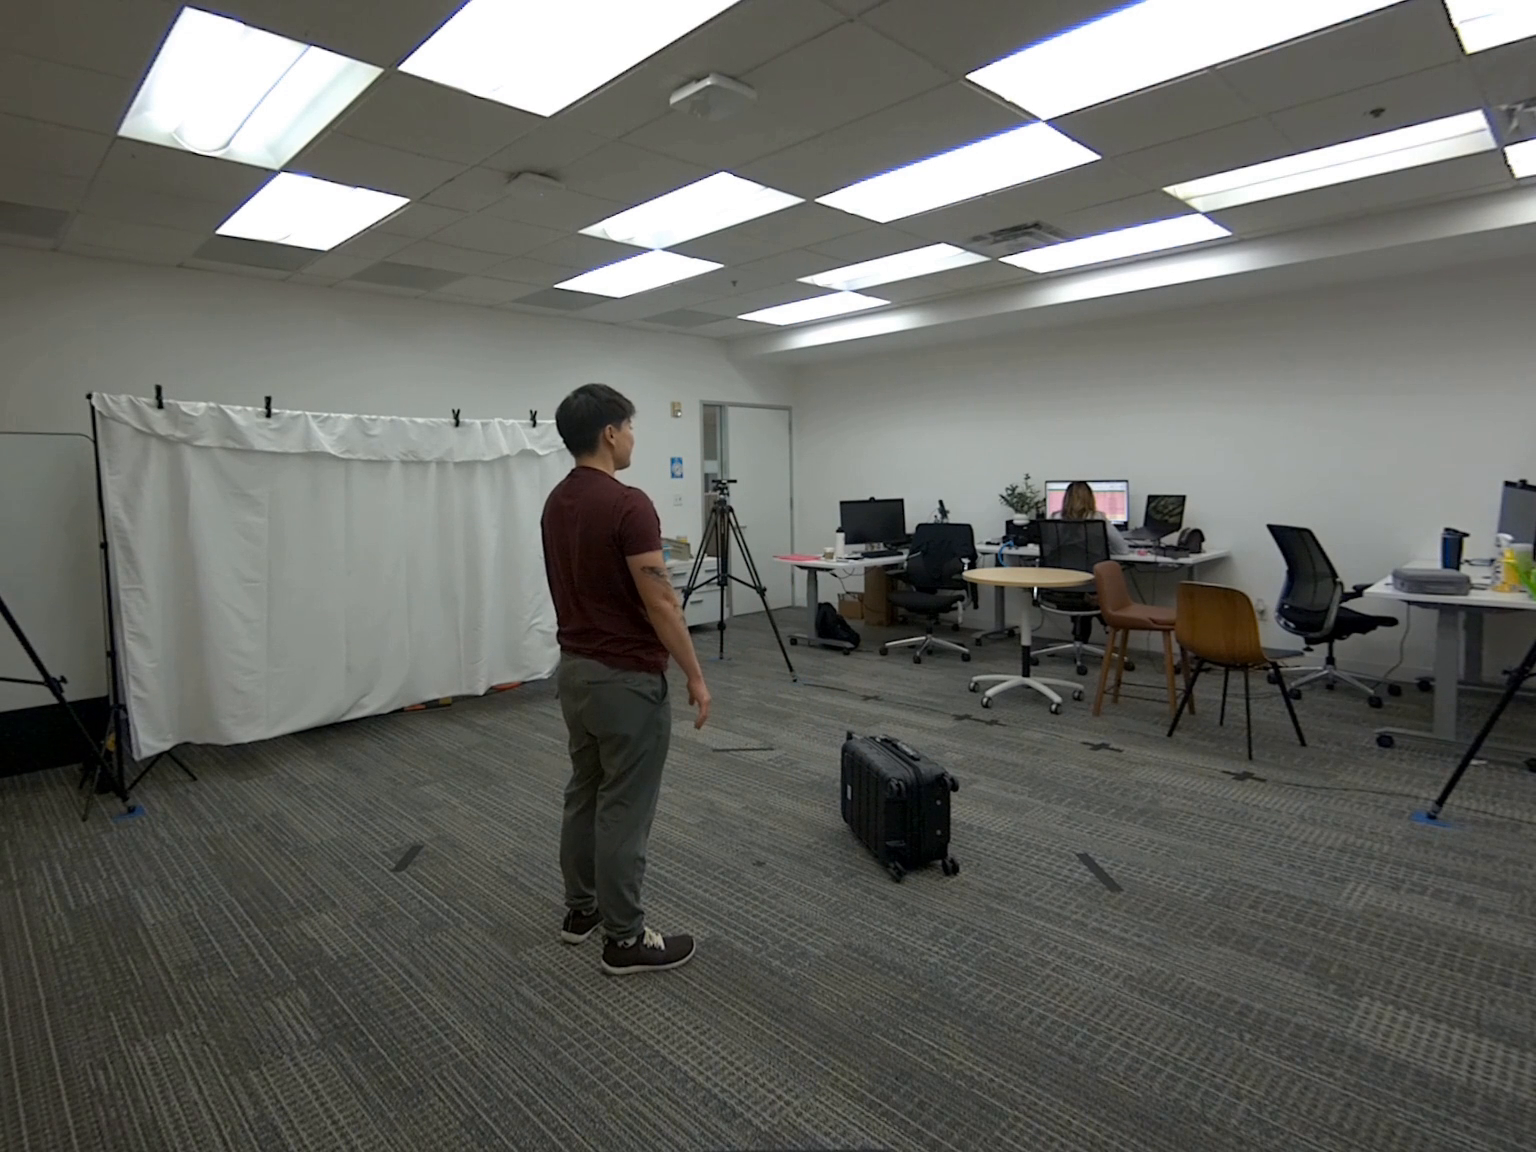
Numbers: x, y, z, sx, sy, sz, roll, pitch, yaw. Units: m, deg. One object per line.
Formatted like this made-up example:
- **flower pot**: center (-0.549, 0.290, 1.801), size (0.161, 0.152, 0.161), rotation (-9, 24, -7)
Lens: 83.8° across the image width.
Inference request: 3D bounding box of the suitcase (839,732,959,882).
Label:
- **suitcase**: center (0.405, 0.817, 3.420), size (0.253, 0.382, 0.997), rotation (-2, 5, -17)
